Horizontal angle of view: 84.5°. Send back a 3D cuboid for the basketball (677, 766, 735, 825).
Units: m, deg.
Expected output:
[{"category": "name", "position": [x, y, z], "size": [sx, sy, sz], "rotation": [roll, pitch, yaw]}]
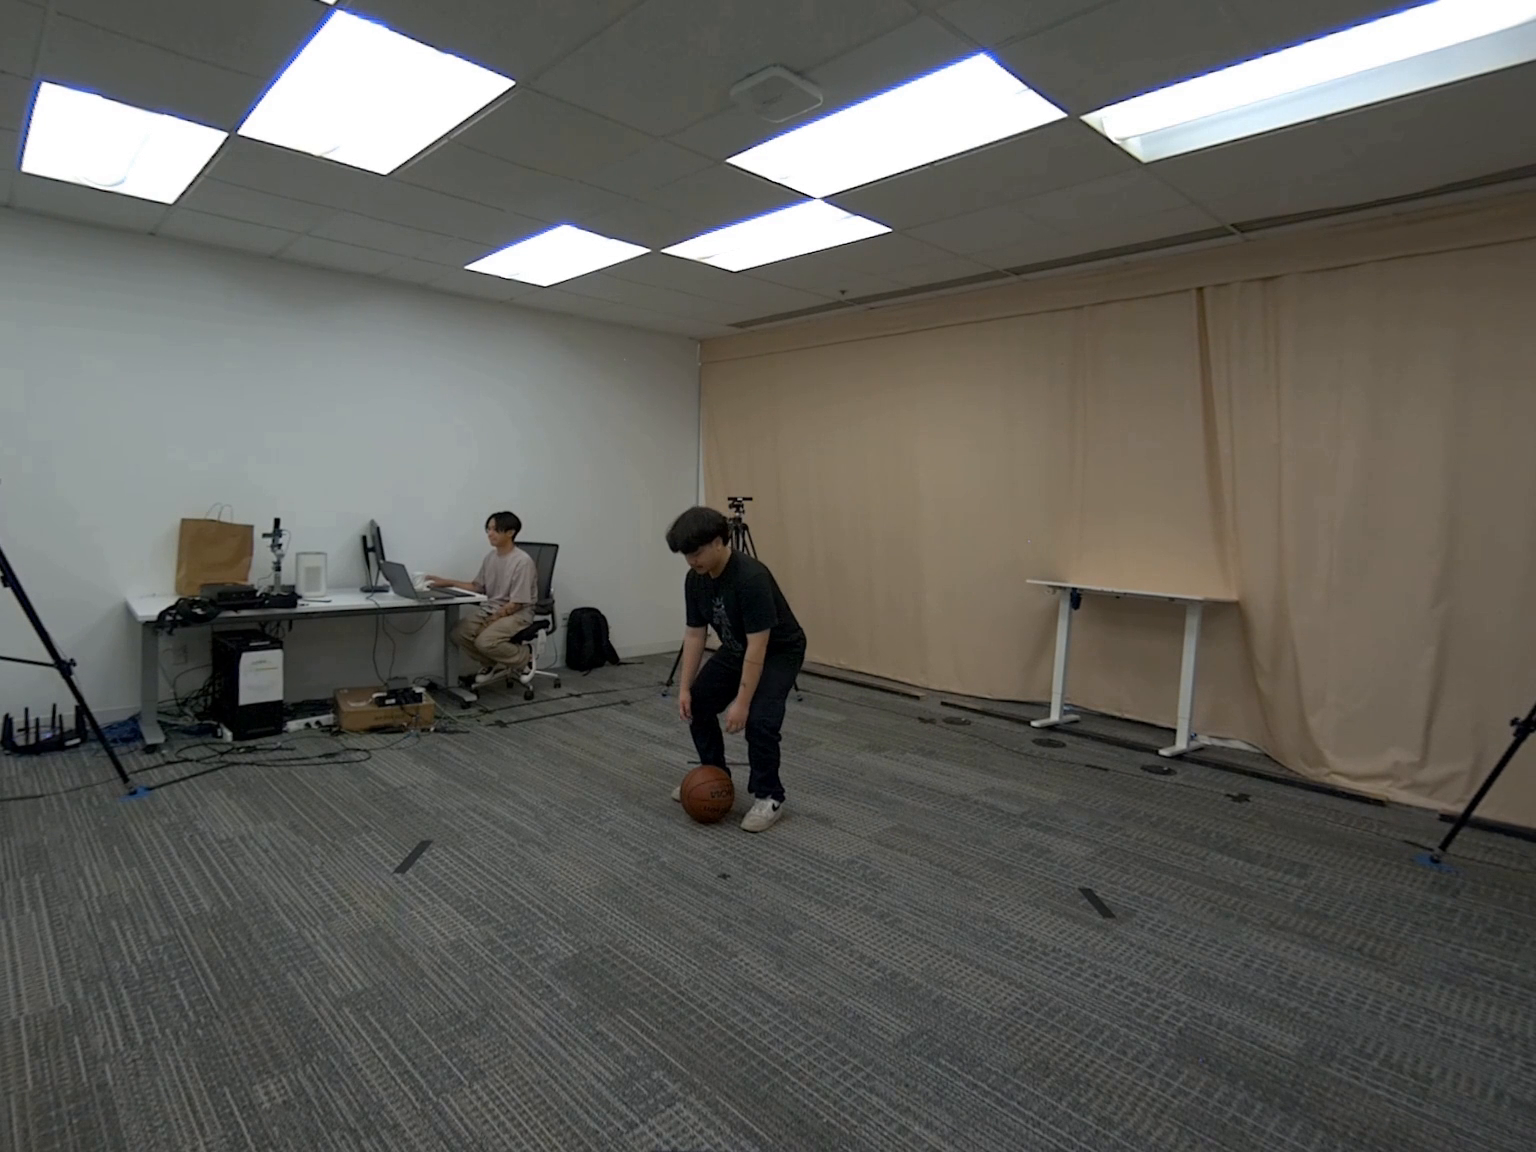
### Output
[{"category": "basketball", "position": [-0.268, 0.938, 3.632], "size": [0.236, 0.235, 0.237], "rotation": [1, 4, -1]}]
